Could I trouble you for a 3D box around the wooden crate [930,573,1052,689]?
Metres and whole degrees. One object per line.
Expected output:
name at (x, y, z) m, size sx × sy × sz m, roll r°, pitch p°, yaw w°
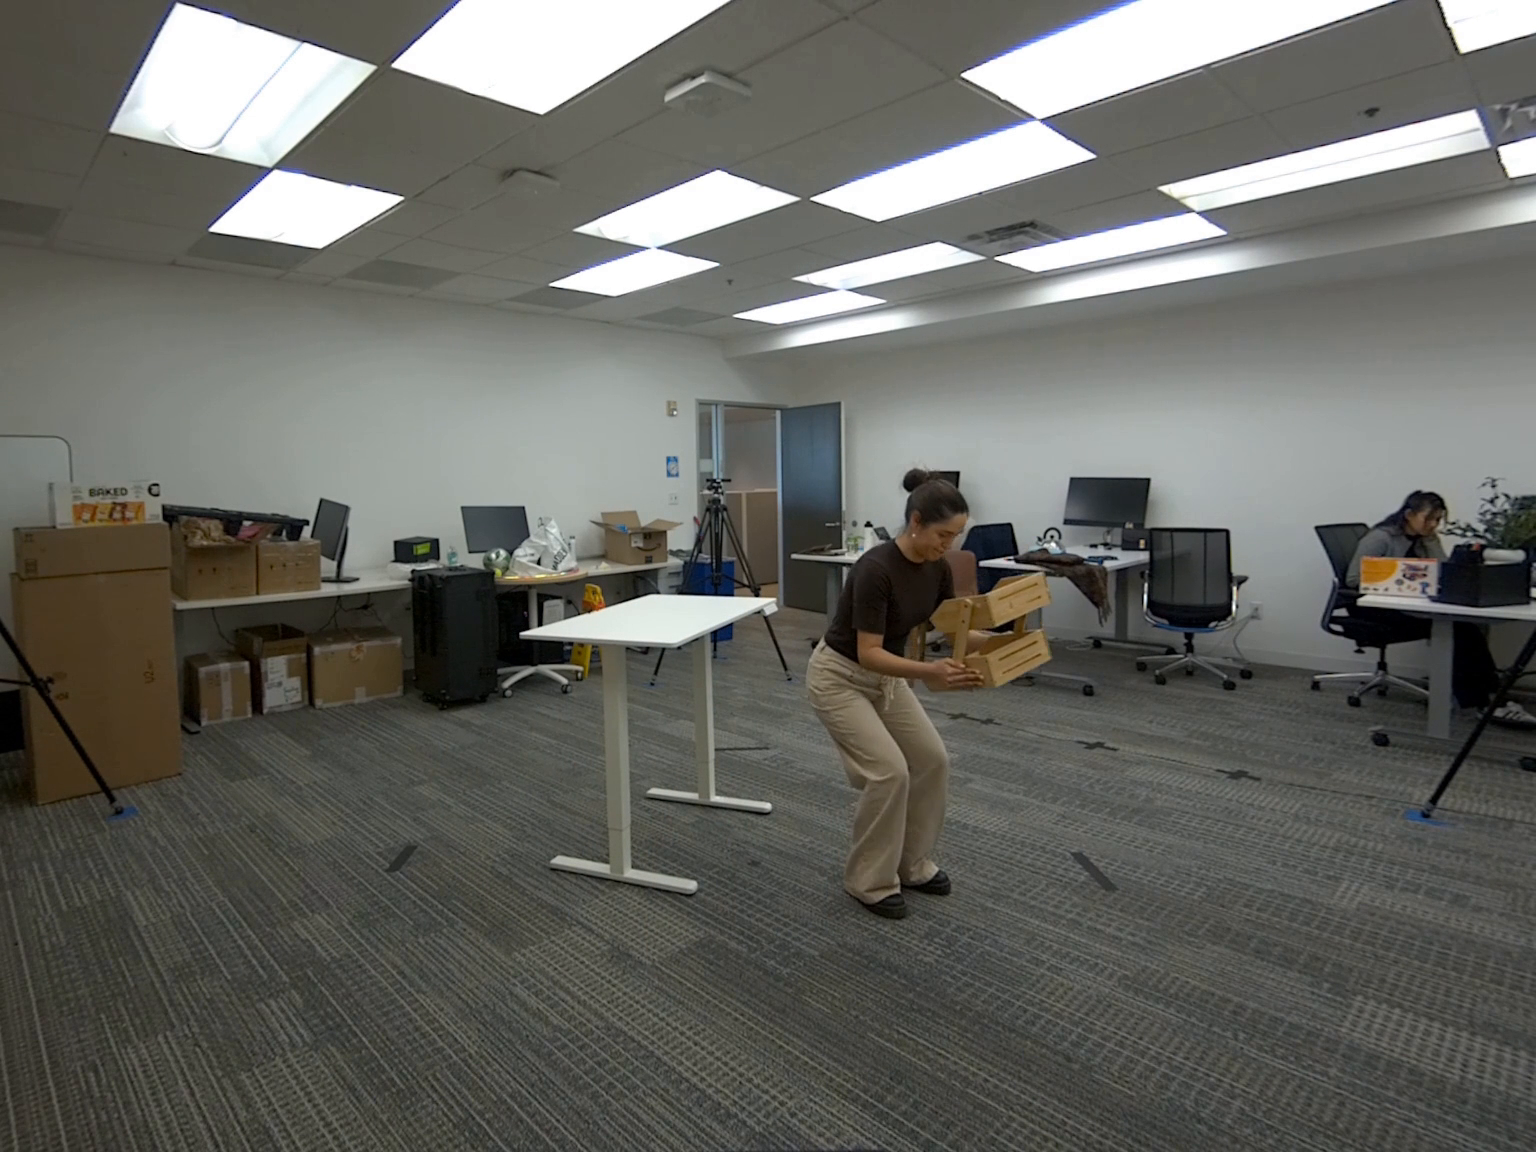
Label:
wooden crate at (0.642, 0.165, 2.526) m, size 0.318 × 0.273 × 0.308 m, roll -16°, pitch 1°, yaw -39°
